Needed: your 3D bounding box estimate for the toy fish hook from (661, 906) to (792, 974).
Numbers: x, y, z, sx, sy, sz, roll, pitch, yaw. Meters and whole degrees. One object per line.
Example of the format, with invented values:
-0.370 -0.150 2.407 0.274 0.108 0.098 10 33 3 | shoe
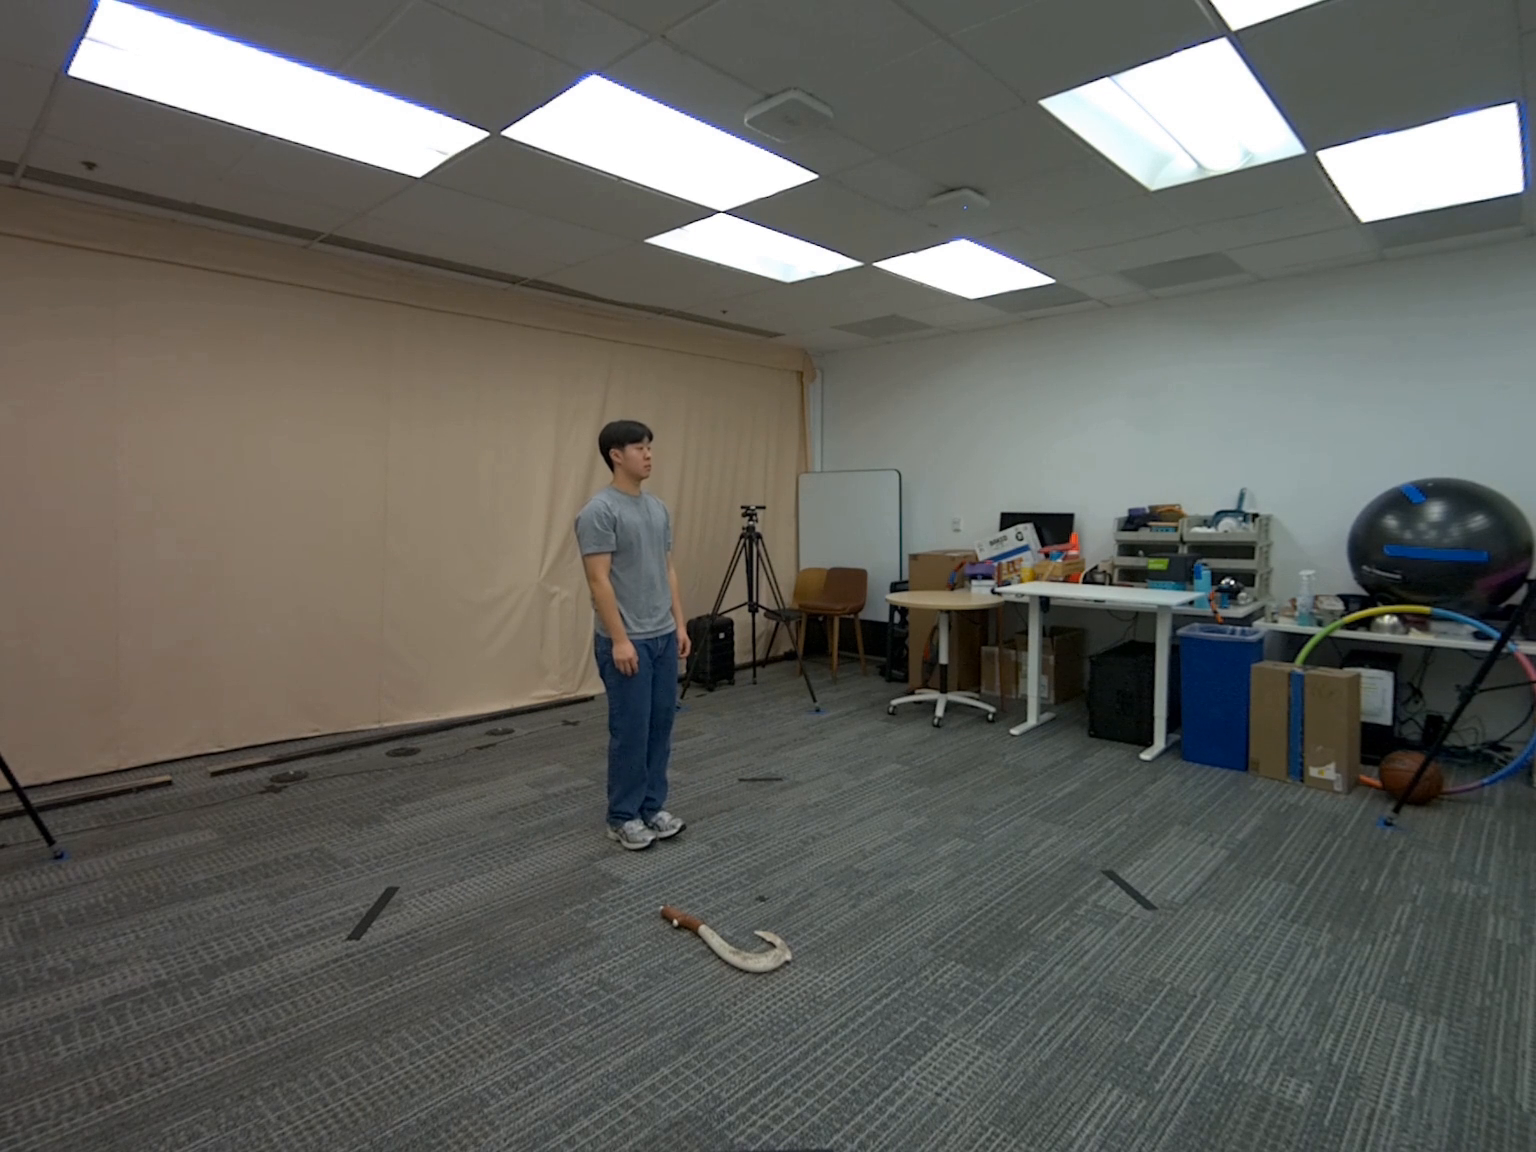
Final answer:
-0.139 1.152 2.712 0.524 0.048 0.217 5 -1 45 | toy fish hook
